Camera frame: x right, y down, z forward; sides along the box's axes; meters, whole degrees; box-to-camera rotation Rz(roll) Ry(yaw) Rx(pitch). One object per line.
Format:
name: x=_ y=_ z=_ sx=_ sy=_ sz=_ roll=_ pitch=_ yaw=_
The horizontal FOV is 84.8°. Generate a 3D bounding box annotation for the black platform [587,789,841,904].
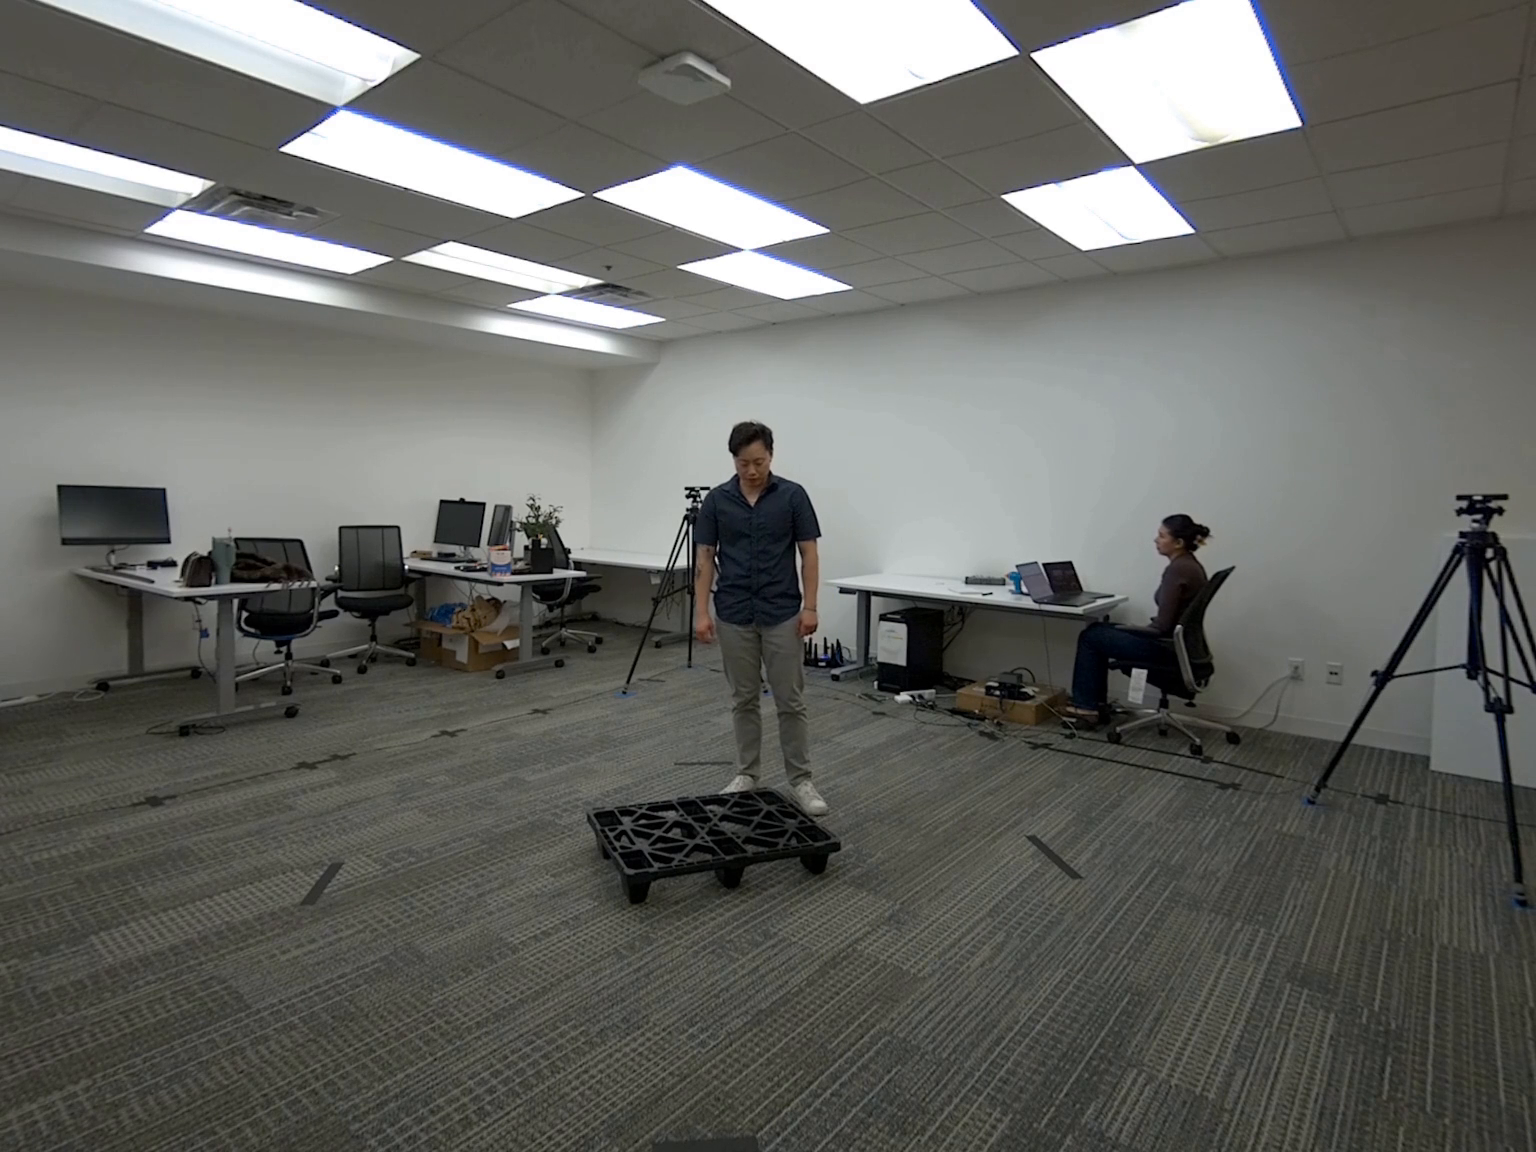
black platform: x=-0.227 y=0.991 z=3.171 sx=0.788 sy=0.143 sz=0.621 roll=-2 pitch=7 yaw=-23
